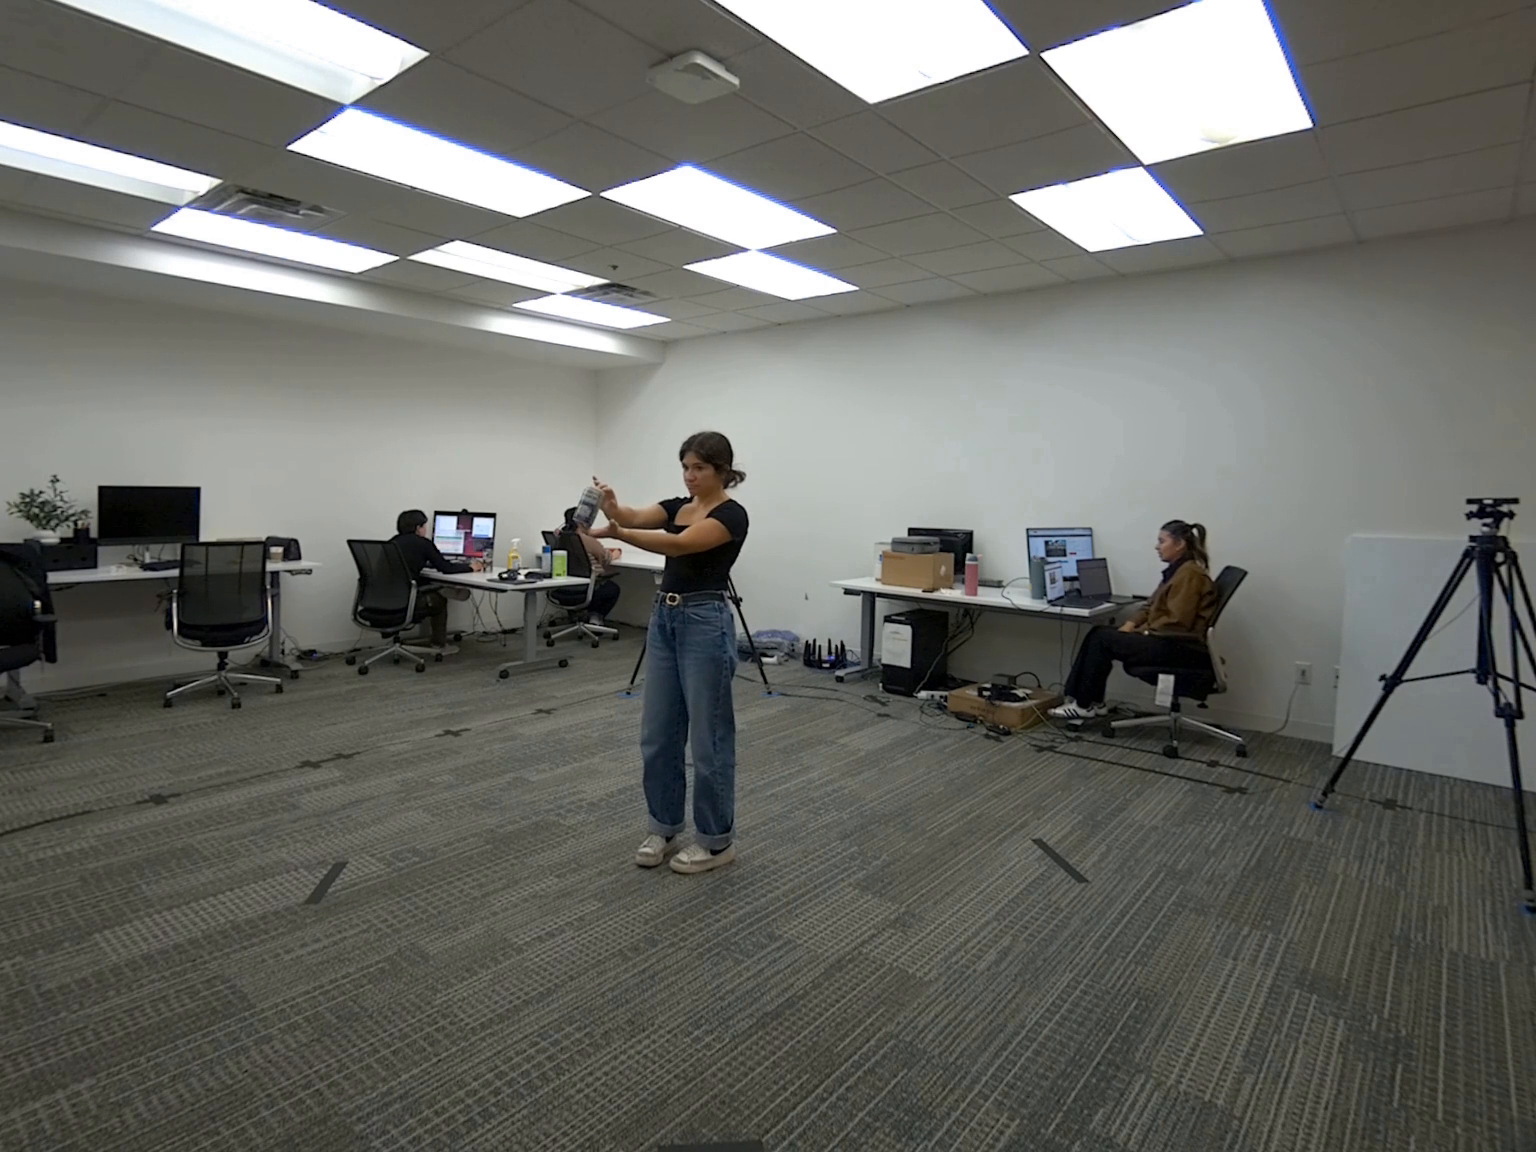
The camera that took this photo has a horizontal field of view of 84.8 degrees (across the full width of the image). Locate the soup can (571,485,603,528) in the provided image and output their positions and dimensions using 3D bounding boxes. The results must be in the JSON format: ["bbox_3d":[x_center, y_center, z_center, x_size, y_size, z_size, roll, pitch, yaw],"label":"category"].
[{"bbox_3d":[-0.576,-0.227,2.683,0.067,0.122,0.067,15,-7,0],"label":"soup can"}]
